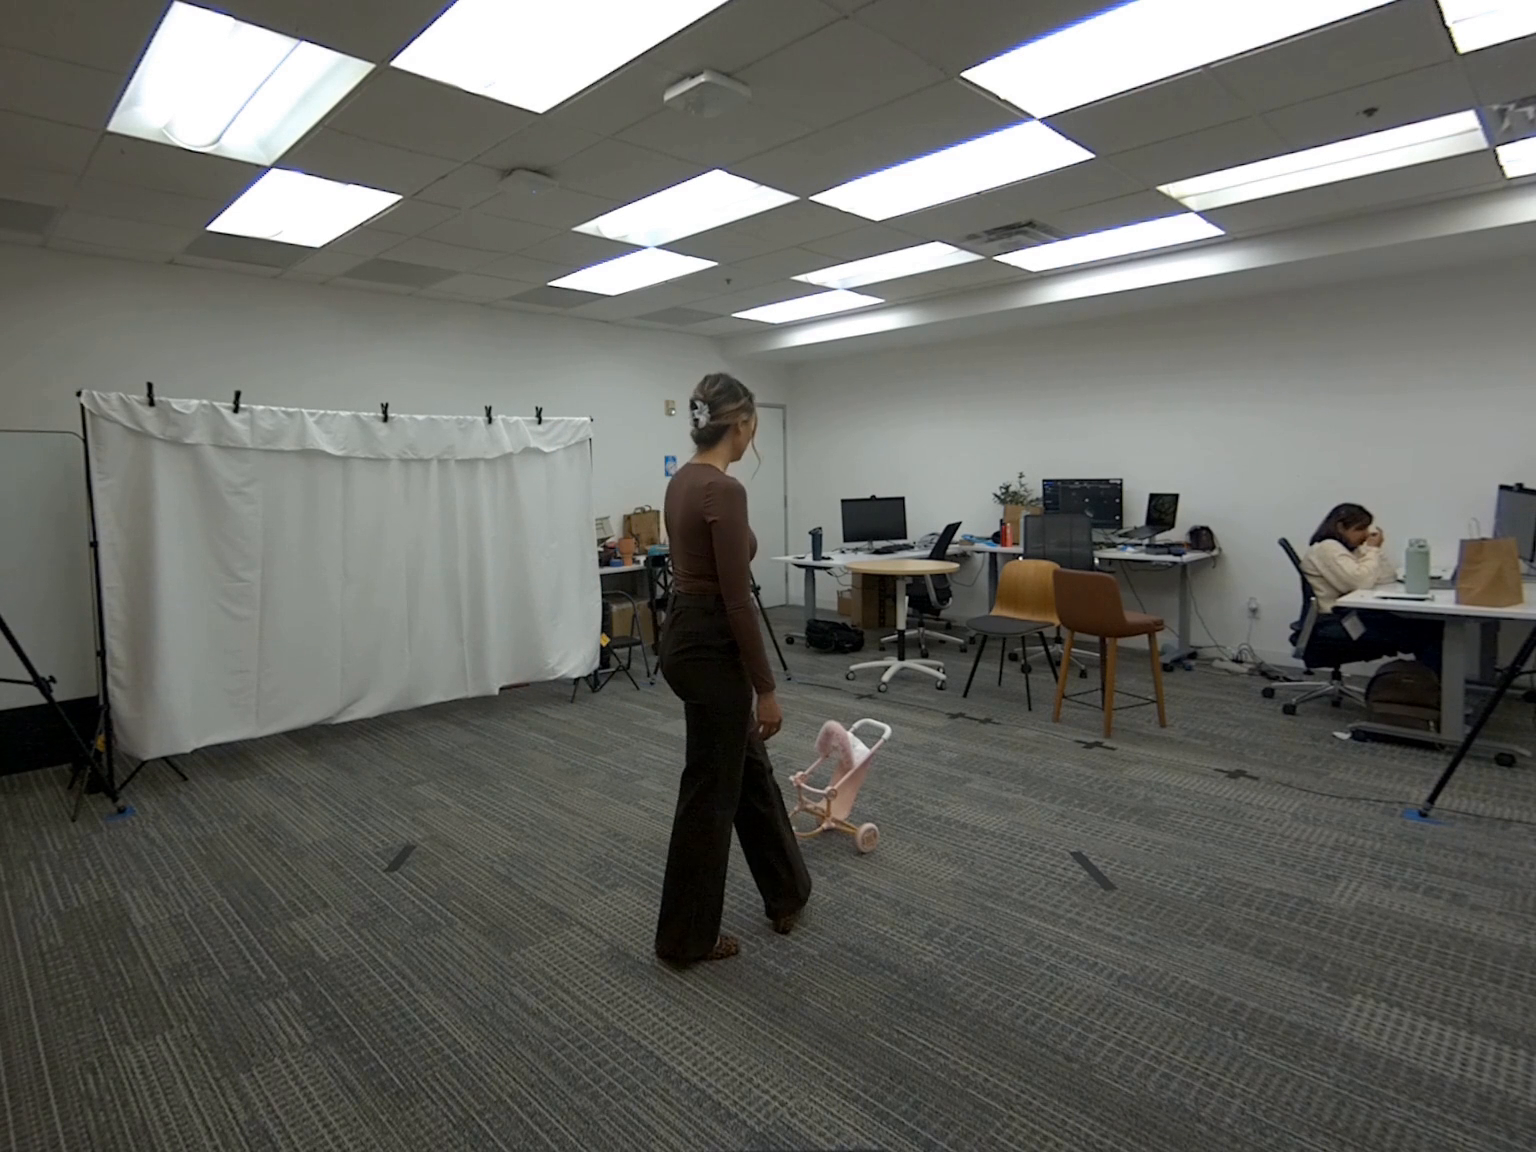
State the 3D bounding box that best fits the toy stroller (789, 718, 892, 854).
[{"bbox_3d":[0.246,0.794,3.244,0.332,0.536,0.288,14,-3,-26],"label":"toy stroller"}]
